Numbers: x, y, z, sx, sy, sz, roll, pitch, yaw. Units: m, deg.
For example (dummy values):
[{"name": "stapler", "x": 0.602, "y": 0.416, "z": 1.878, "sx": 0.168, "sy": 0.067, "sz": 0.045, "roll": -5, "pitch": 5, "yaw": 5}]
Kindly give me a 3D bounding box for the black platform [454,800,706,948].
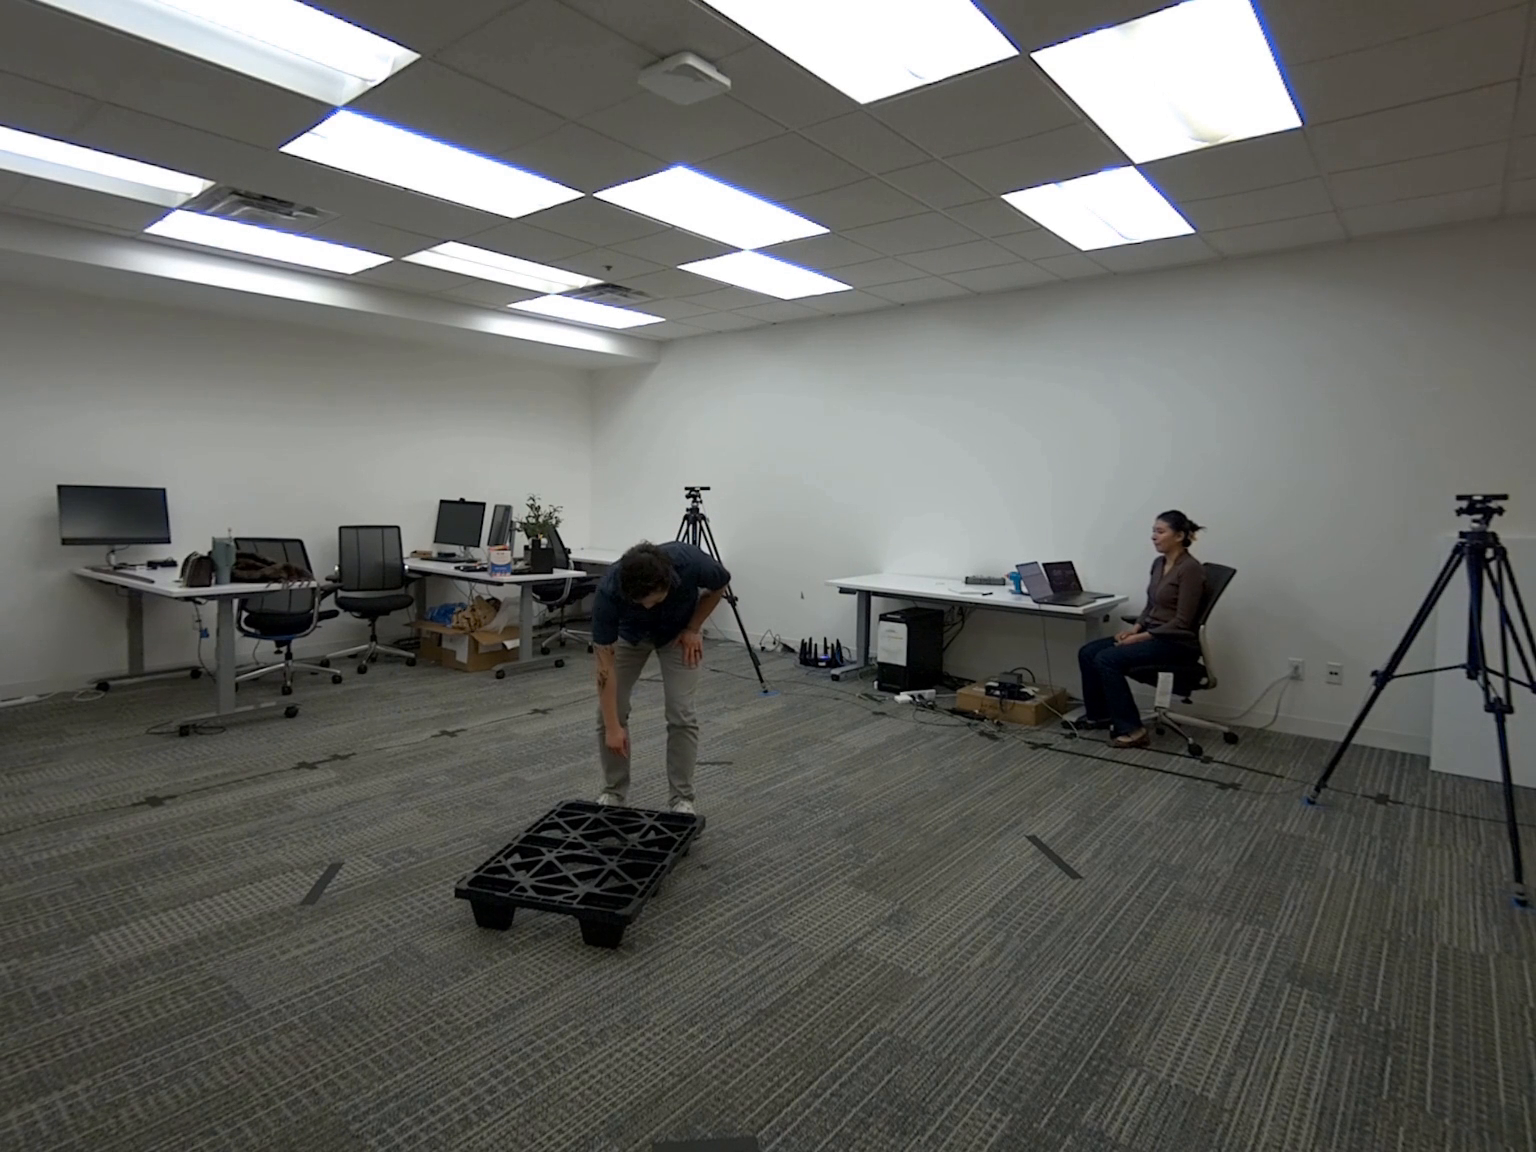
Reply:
[{"name": "black platform", "x": -0.619, "y": 1.006, "z": 2.956, "sx": 0.615, "sy": 0.143, "sz": 0.796, "roll": 1, "pitch": 5, "yaw": 14}]
